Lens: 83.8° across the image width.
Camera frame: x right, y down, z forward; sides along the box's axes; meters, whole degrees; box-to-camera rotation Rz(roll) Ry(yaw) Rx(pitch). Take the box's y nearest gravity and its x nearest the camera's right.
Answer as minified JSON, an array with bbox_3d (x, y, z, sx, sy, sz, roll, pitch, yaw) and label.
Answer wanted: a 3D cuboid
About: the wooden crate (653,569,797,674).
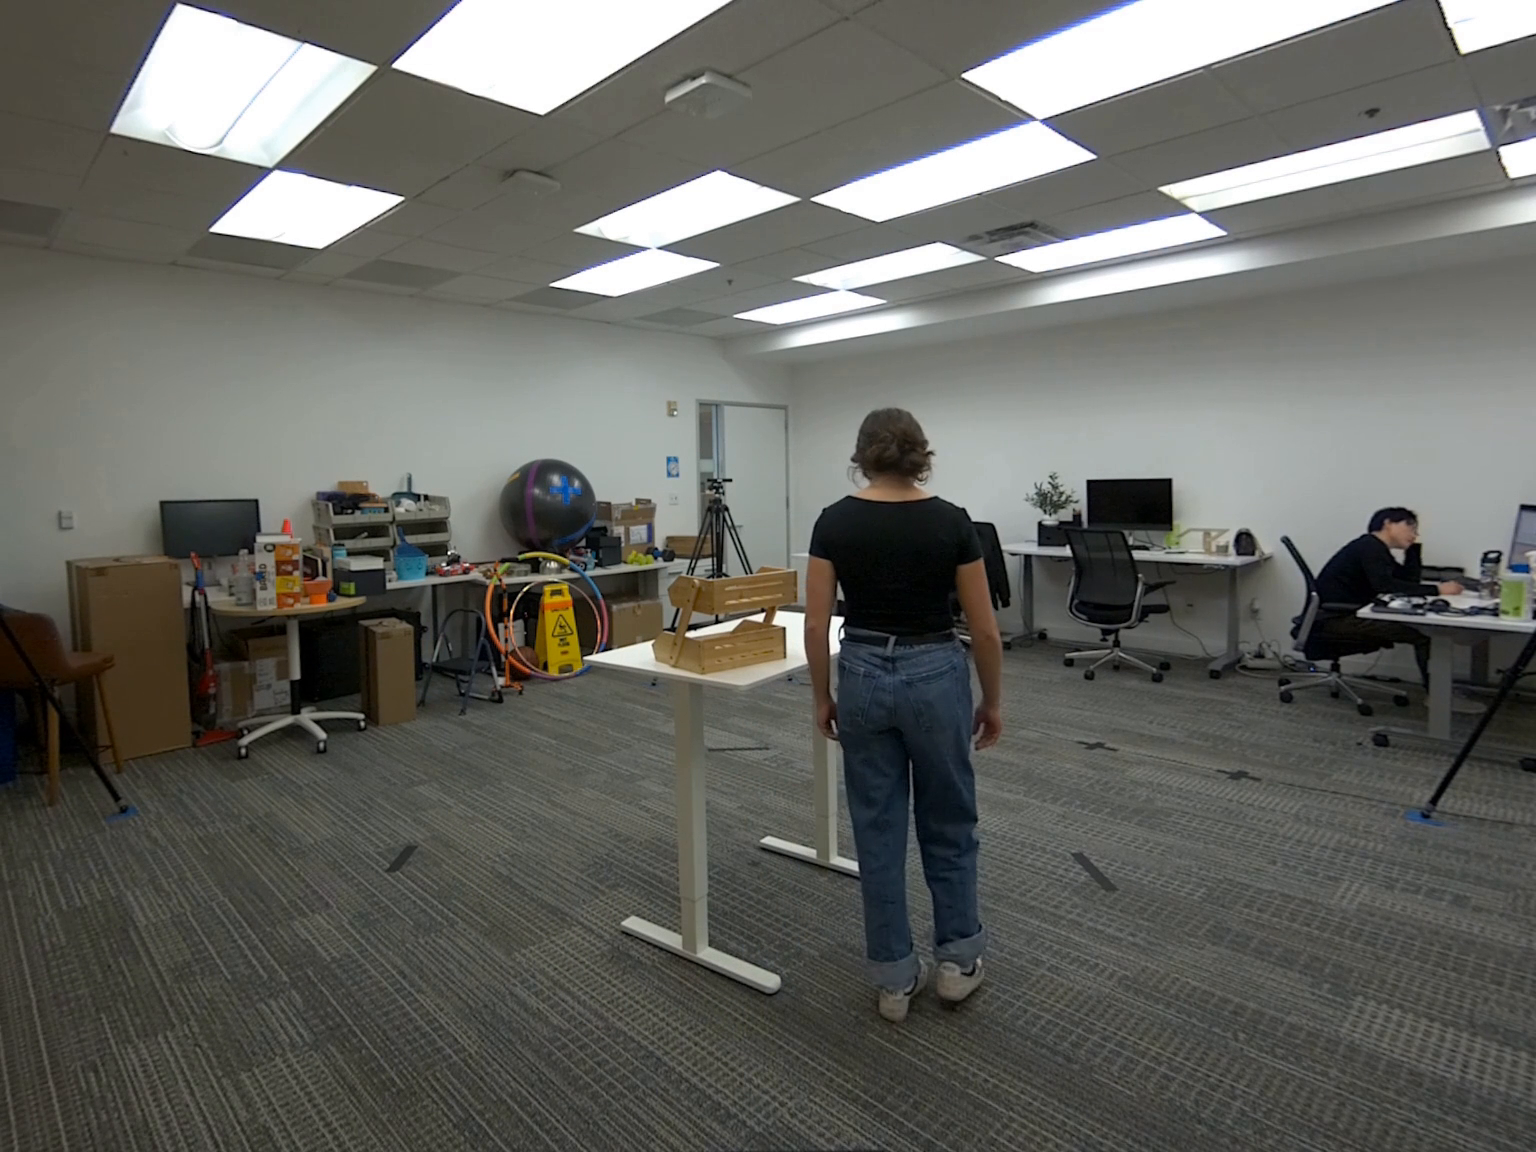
[{"bbox_3d":[-0.124,0.111,2.439,0.316,0.272,0.311,-6,8,-38],"label":"wooden crate"}]
